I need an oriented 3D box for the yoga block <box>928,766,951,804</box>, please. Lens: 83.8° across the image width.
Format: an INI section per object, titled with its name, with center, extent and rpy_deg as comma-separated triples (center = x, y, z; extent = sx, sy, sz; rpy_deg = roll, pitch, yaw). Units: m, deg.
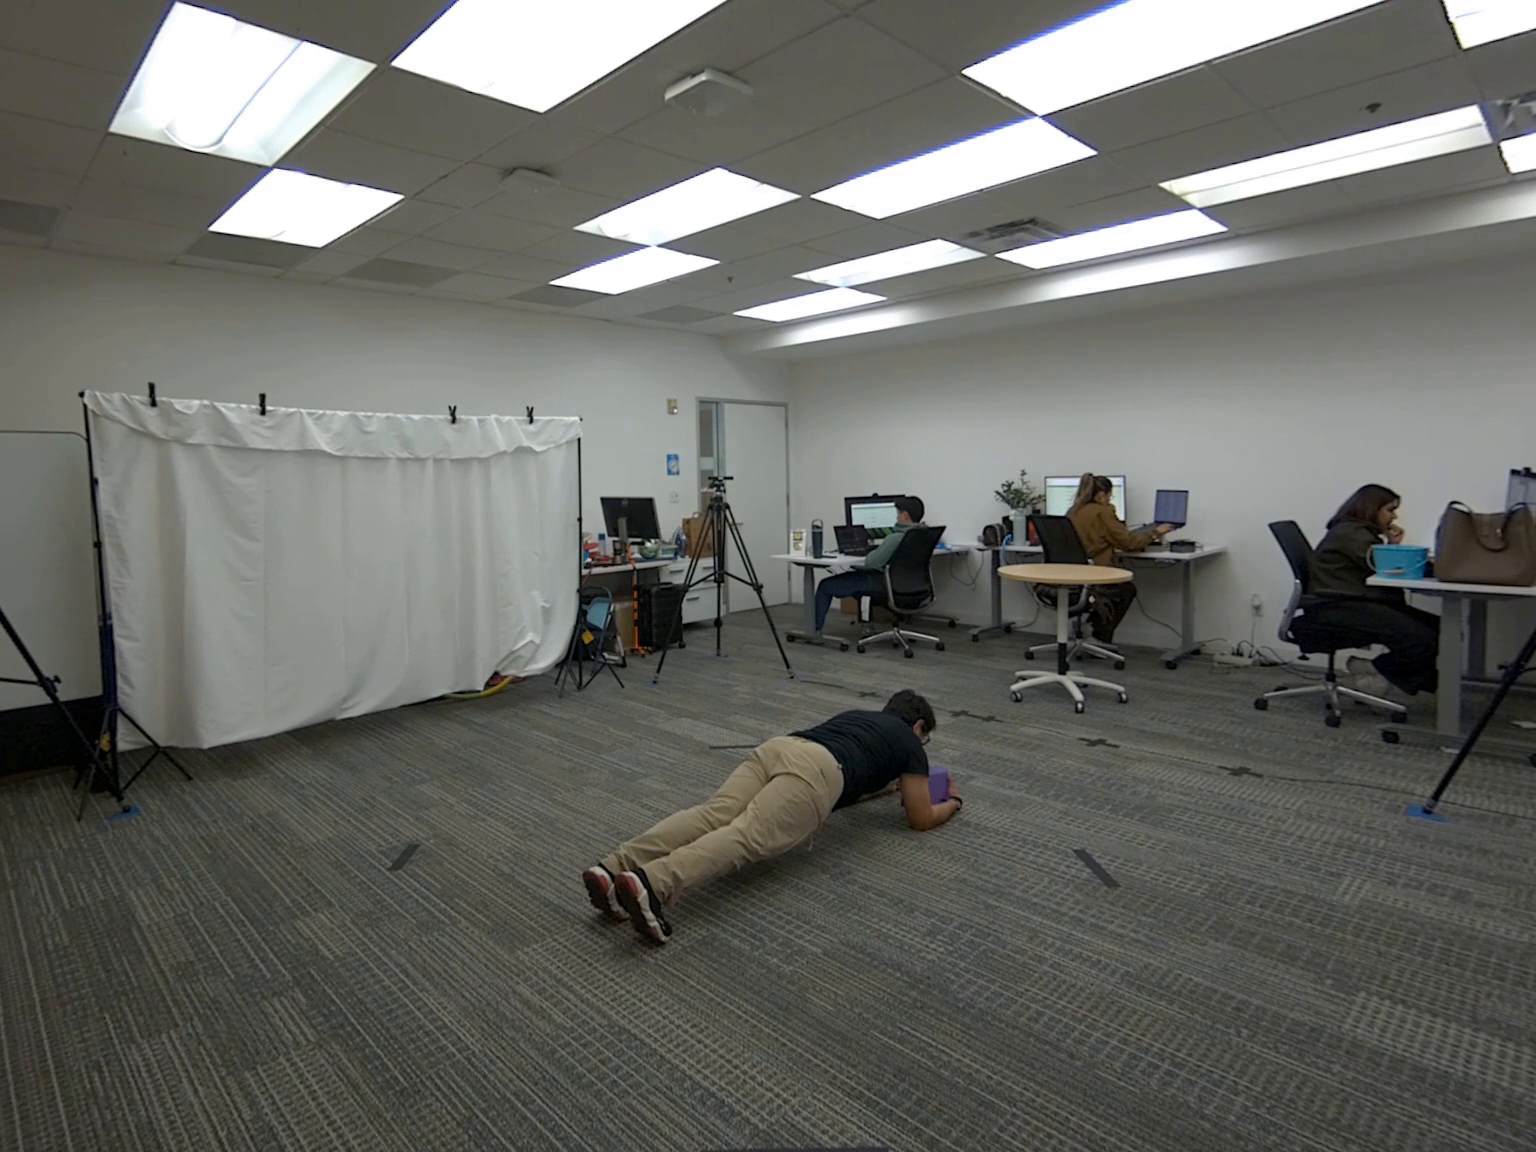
[yoga block]
center = 0.646, 0.870, 3.499
extent = 0.222, 0.149, 0.079
rpy_deg = 4, 0, -39
